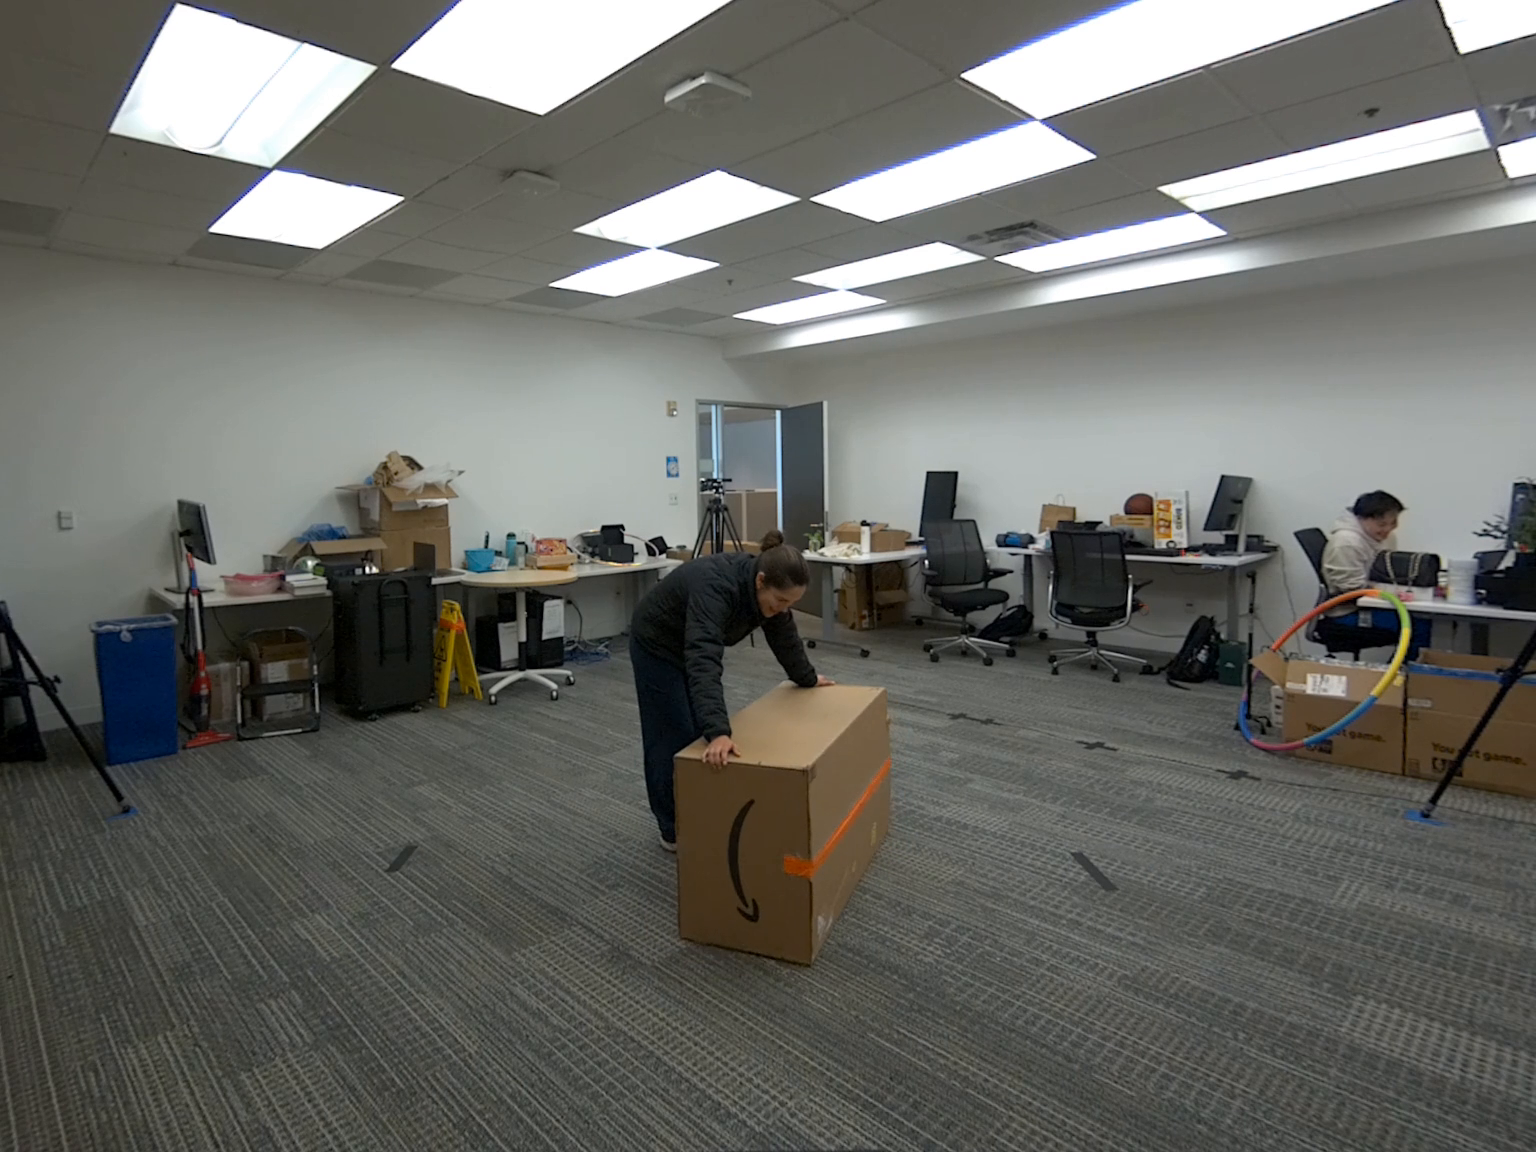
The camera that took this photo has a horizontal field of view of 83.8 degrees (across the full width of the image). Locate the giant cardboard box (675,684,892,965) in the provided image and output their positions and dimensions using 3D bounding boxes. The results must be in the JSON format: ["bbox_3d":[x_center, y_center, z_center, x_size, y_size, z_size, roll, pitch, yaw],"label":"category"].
[{"bbox_3d":[0.096,0.772,2.979,0.456,0.582,1.011,-1,5,21],"label":"giant cardboard box"}]
